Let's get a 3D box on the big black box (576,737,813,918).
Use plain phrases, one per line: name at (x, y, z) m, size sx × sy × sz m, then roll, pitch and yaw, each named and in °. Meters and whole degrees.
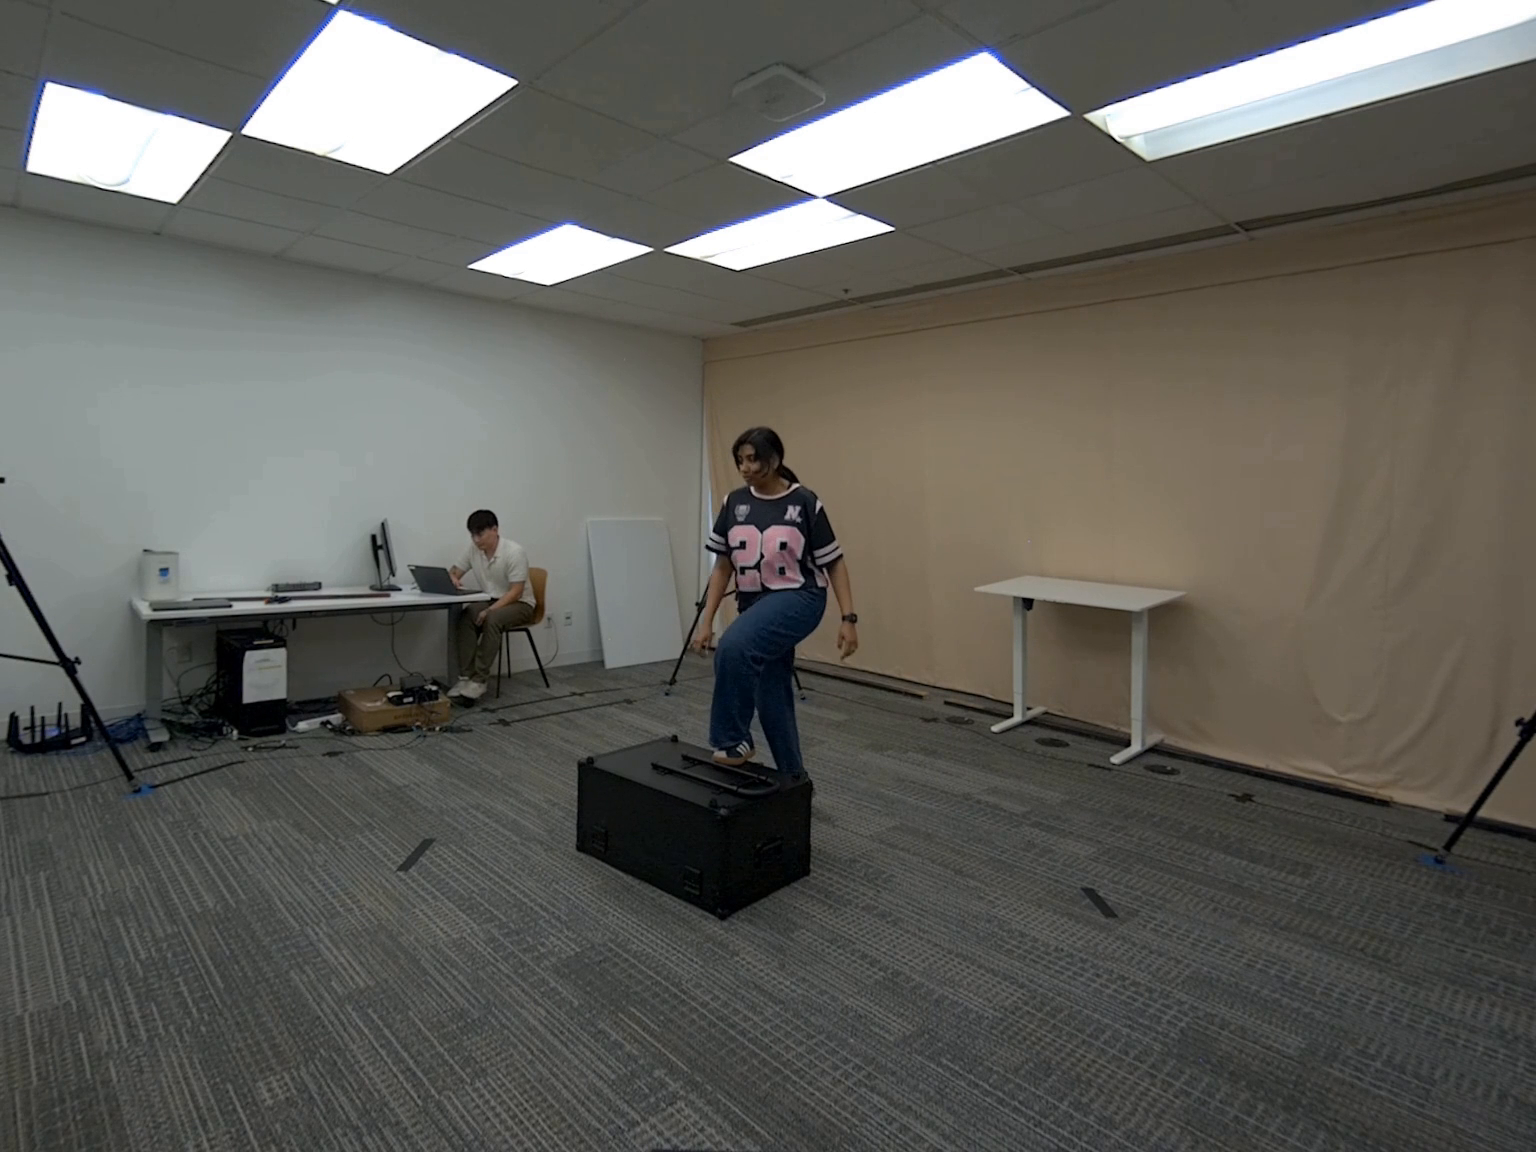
big black box at (-0.330, 0.906, 3.212) m, size 0.890 × 0.384 × 0.512 m, roll 5°, pitch 8°, yaw 41°
